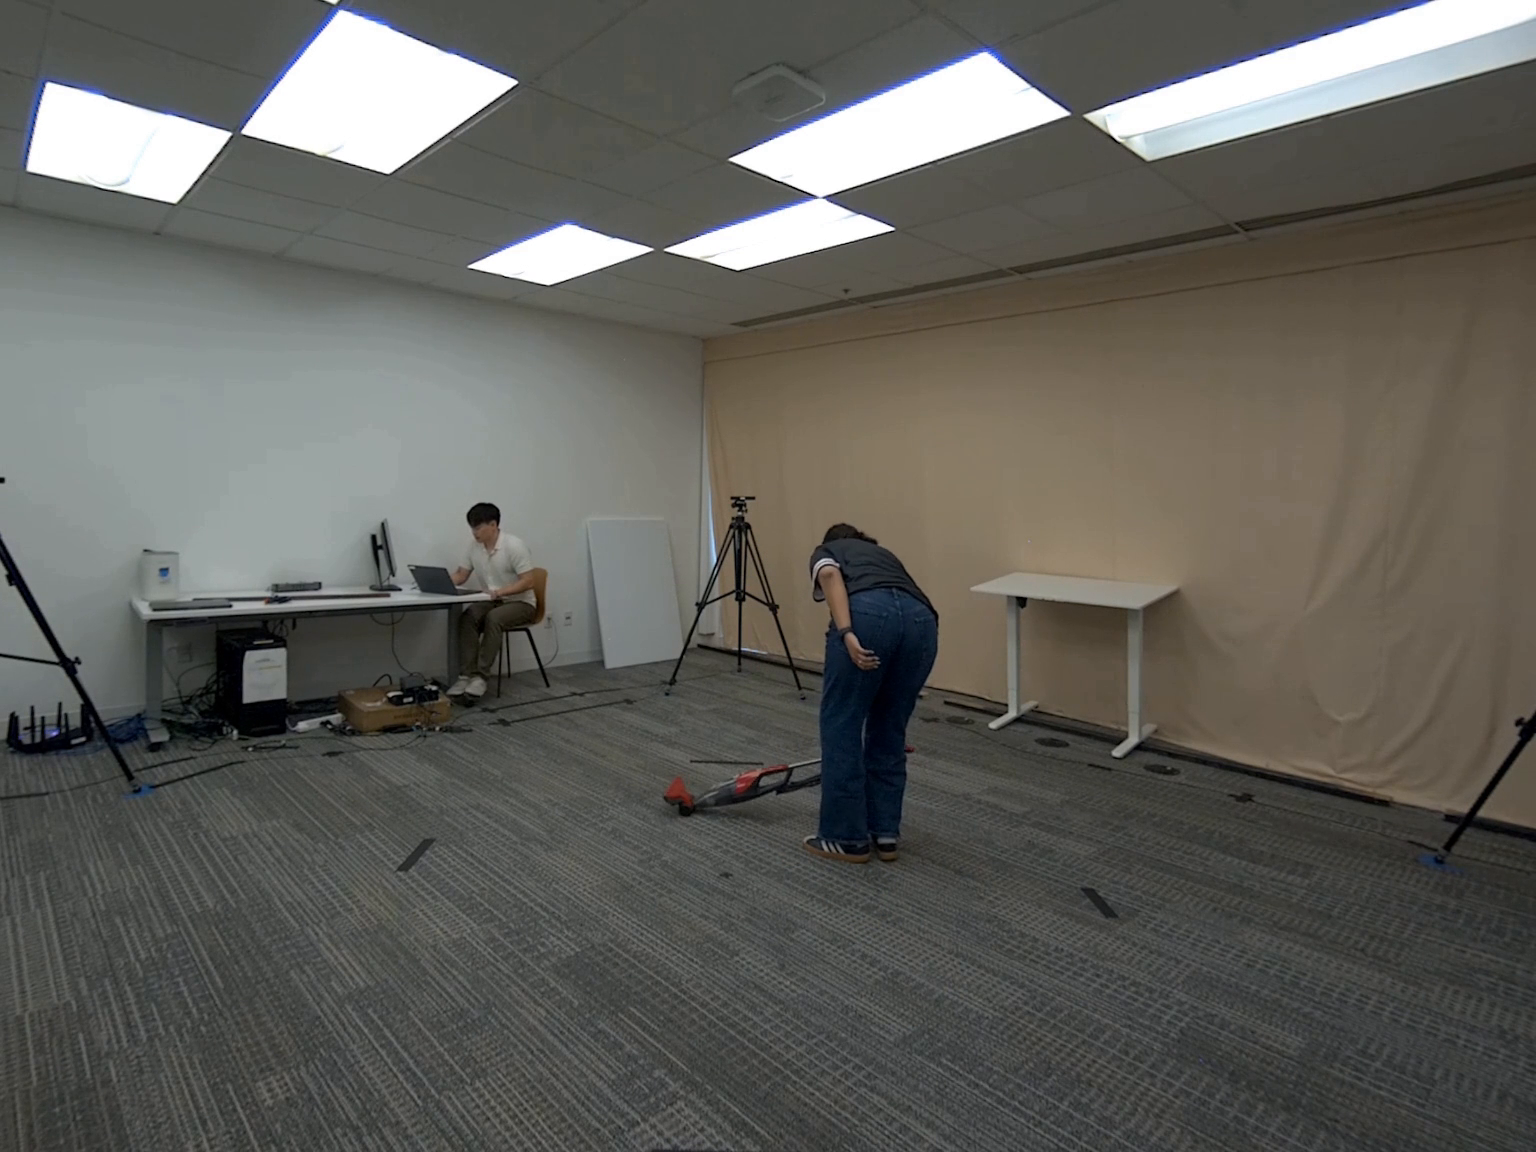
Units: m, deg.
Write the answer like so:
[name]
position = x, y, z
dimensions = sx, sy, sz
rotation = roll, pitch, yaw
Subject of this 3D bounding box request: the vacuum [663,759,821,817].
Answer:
[vacuum]
position = 0.098, 0.867, 3.653
dimensions = 1.055, 0.144, 0.251
rotation = -13, 1, 9
